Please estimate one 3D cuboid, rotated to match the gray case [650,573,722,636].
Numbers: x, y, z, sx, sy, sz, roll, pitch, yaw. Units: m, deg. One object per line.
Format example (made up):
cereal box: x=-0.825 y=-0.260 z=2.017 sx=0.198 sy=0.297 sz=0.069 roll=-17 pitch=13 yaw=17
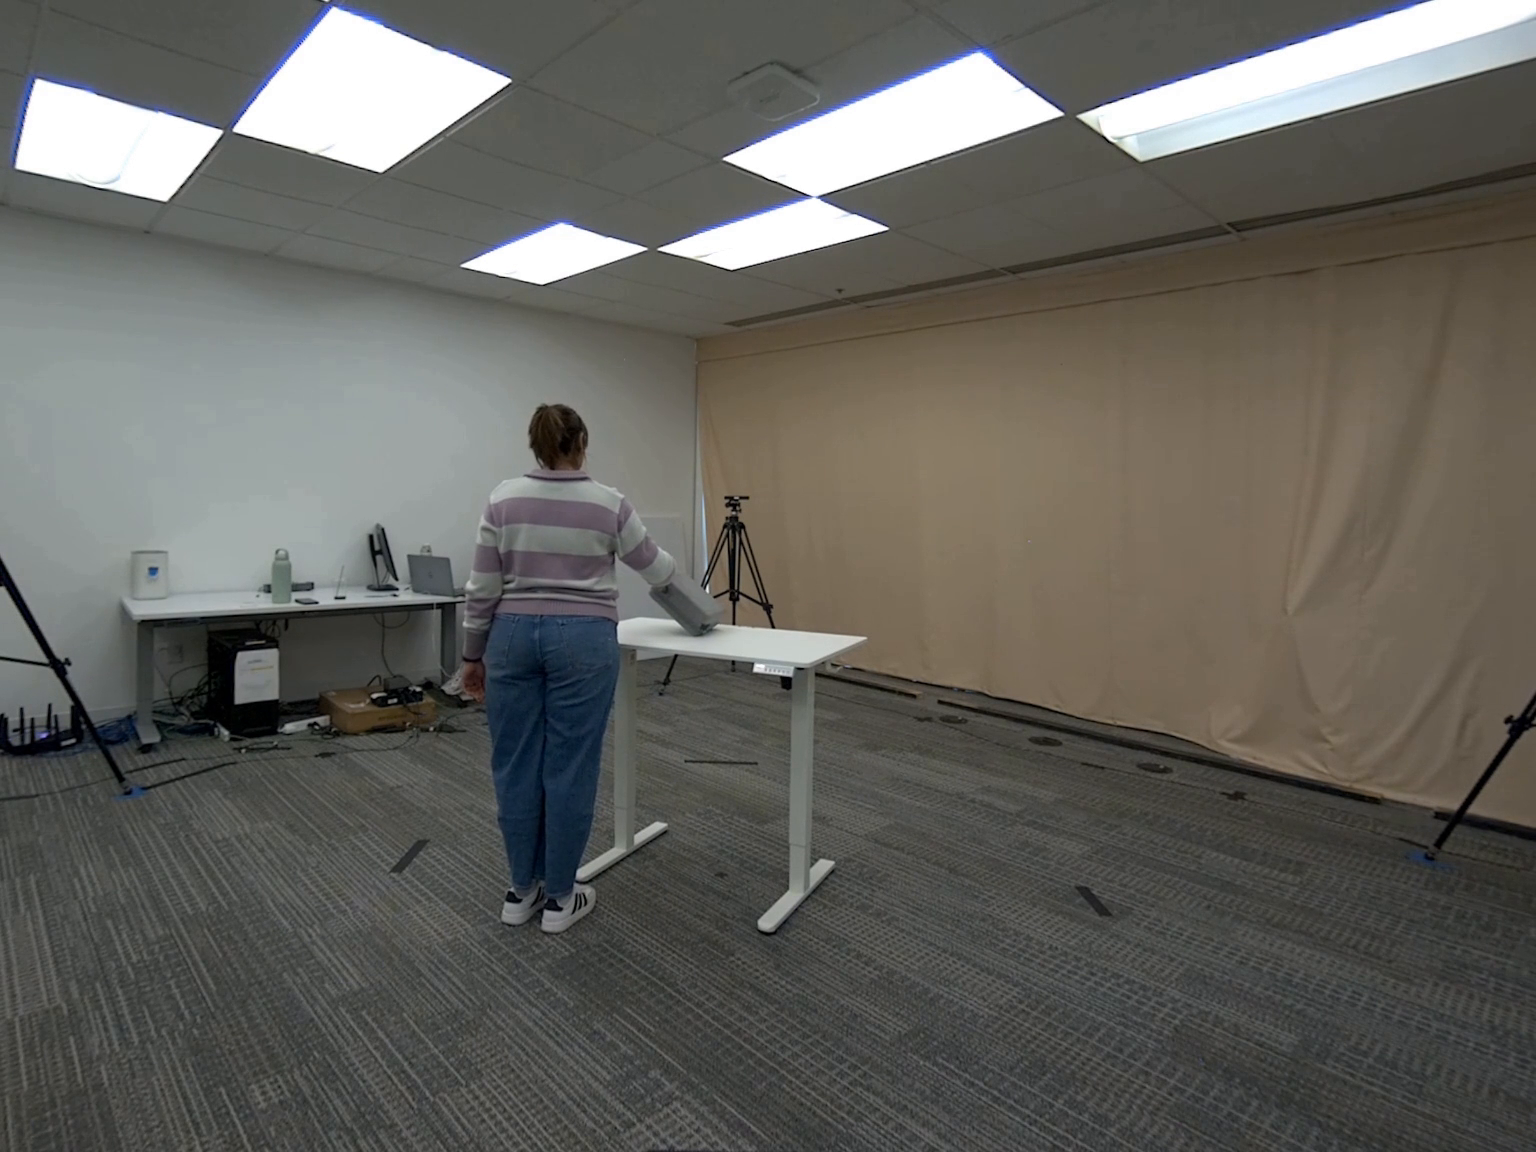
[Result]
gray case: x=-0.312 y=0.098 z=3.188 sx=0.263 sy=0.104 sz=0.255 roll=43 pitch=14 yaw=8
